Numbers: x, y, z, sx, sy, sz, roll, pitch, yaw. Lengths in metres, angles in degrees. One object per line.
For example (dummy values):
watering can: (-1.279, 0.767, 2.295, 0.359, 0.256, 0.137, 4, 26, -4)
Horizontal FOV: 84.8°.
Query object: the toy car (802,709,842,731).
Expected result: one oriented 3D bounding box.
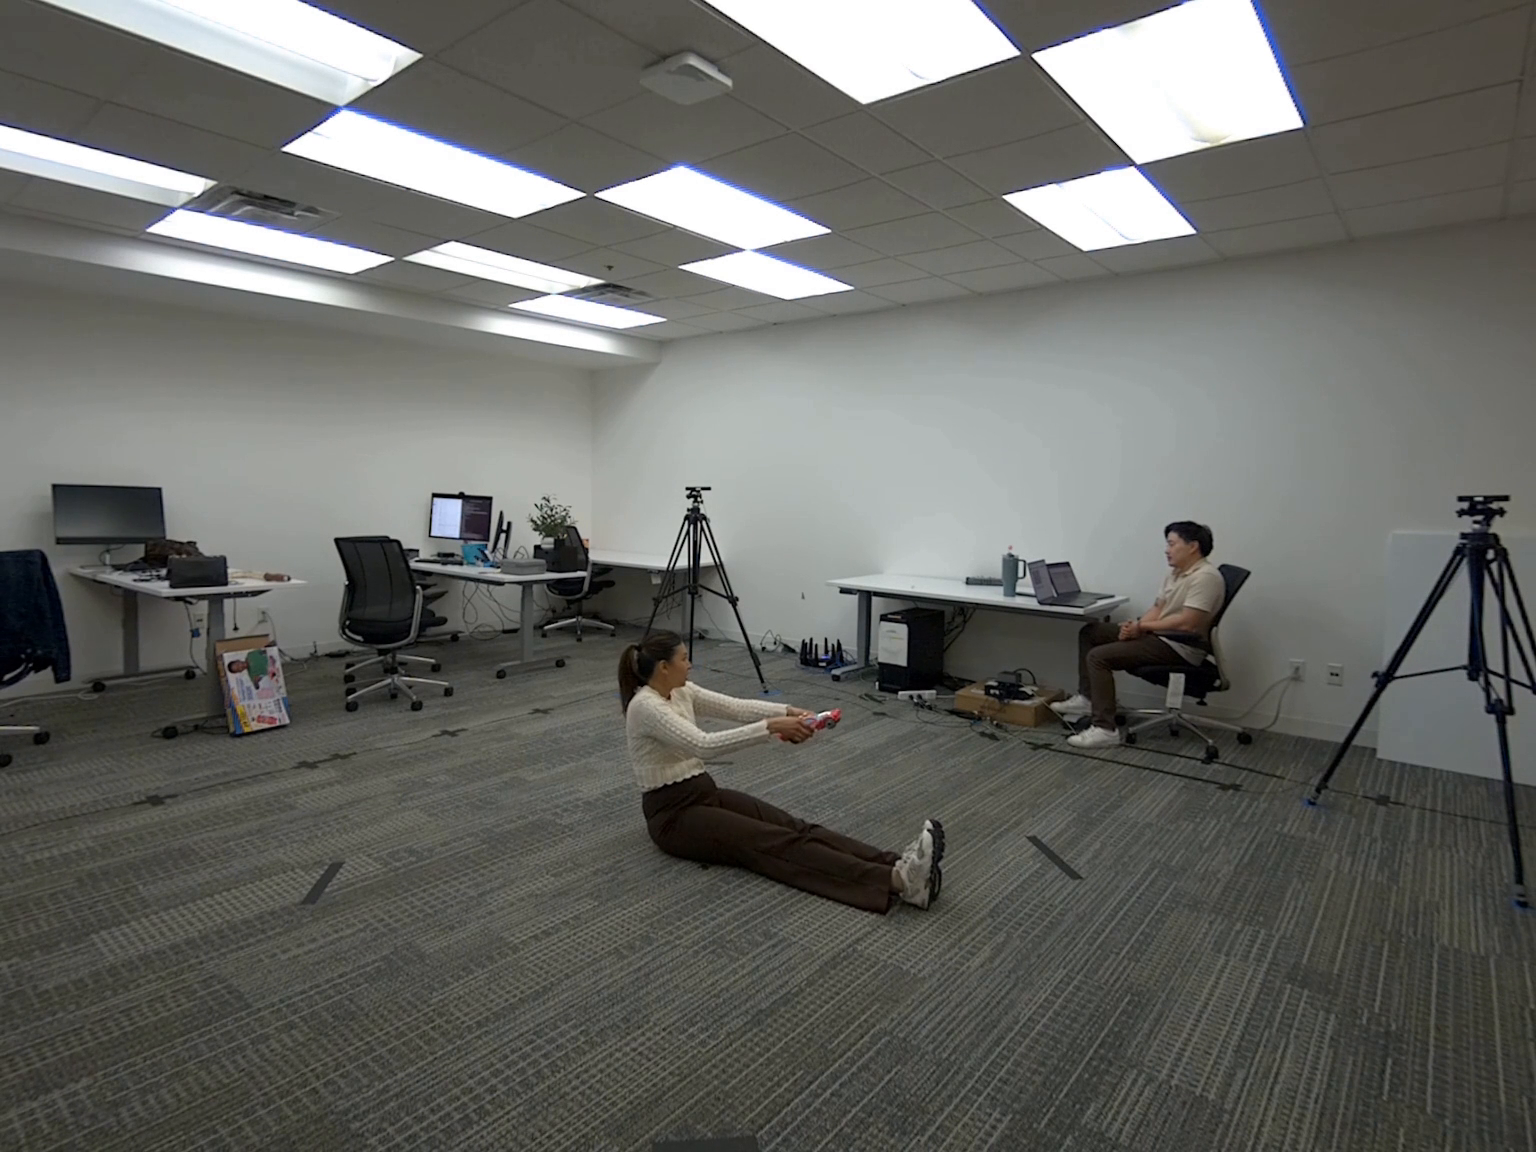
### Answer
toy car: (0.135, 0.565, 3.209, 0.258, 0.083, 0.128, -15, 0, 18)
